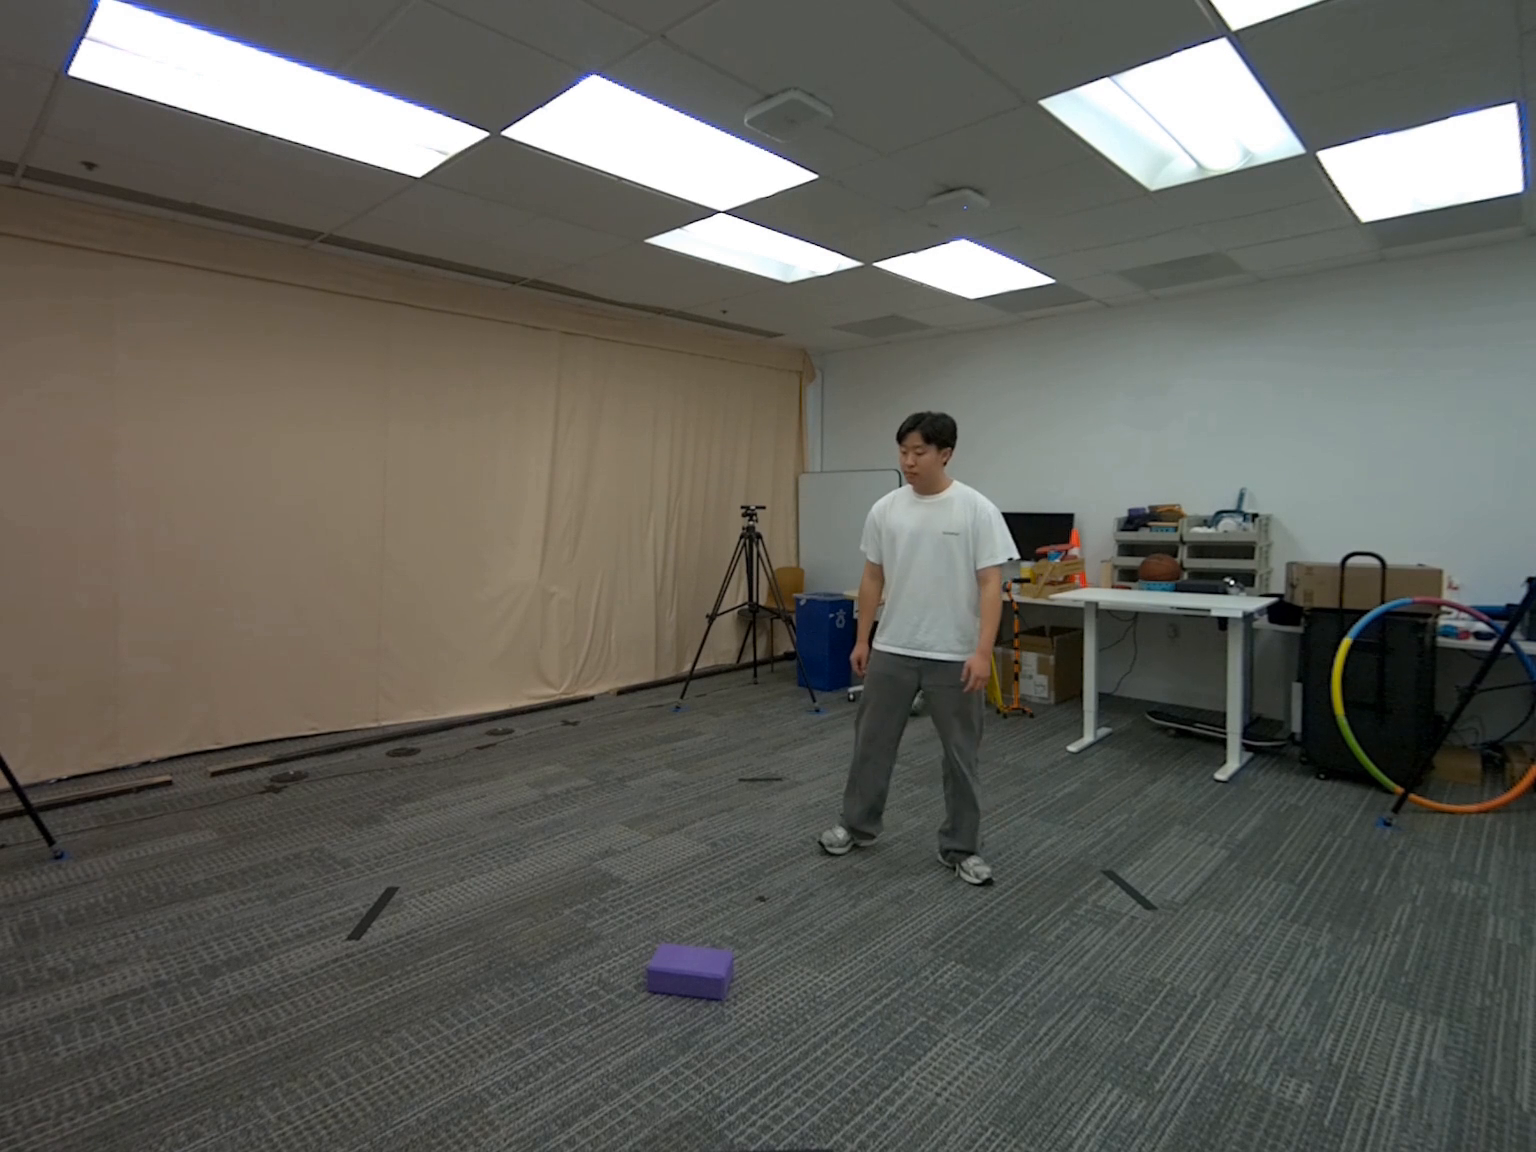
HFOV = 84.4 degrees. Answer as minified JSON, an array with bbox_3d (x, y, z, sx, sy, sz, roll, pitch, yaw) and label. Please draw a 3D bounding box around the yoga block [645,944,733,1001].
[{"bbox_3d":[-0.216,1.151,2.447,0.233,0.076,0.147,1,3,13],"label":"yoga block"}]
